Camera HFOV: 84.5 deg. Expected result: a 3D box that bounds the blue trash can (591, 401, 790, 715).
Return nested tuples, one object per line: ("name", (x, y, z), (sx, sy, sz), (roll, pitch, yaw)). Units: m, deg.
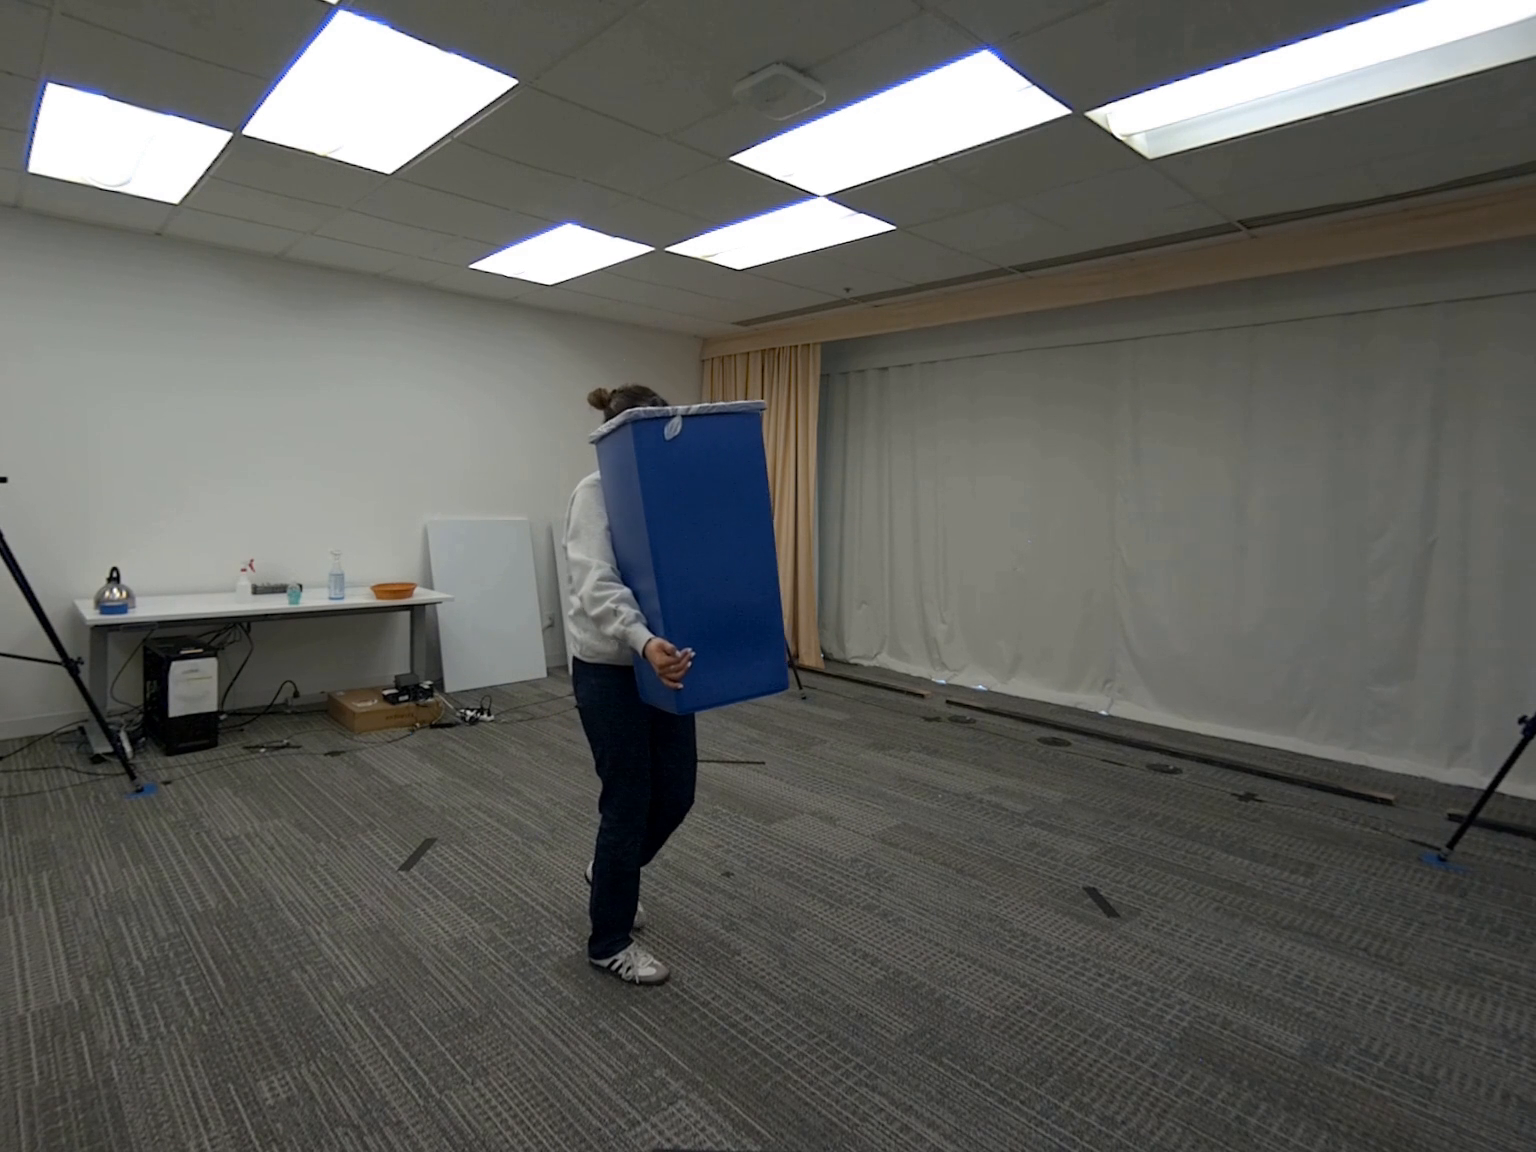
("blue trash can", (-0.203, -0.053, 2.148), (0.372, 0.713, 0.380), (-7, 1, -27))
